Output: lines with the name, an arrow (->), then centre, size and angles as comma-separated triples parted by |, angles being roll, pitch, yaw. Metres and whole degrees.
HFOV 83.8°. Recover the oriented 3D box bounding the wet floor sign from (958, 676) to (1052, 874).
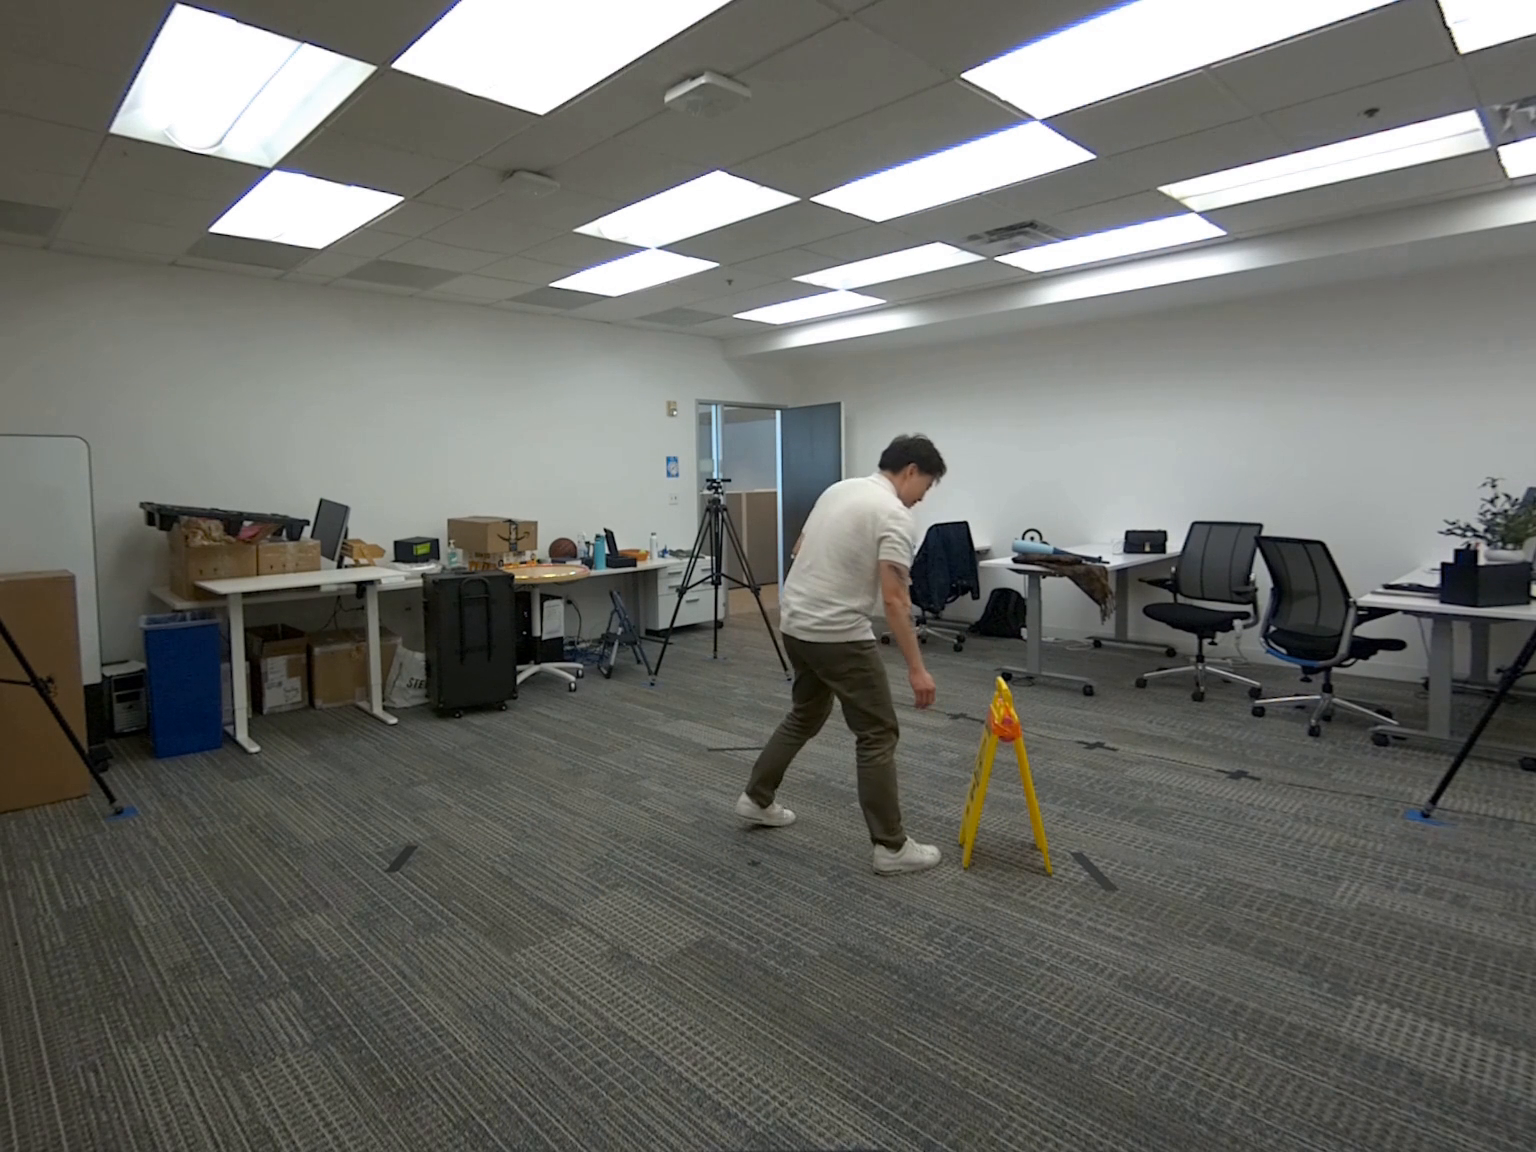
wet floor sign -> 0.856, 0.705, 3.114 | 0.293, 0.644, 0.280 | 1, 3, 10
